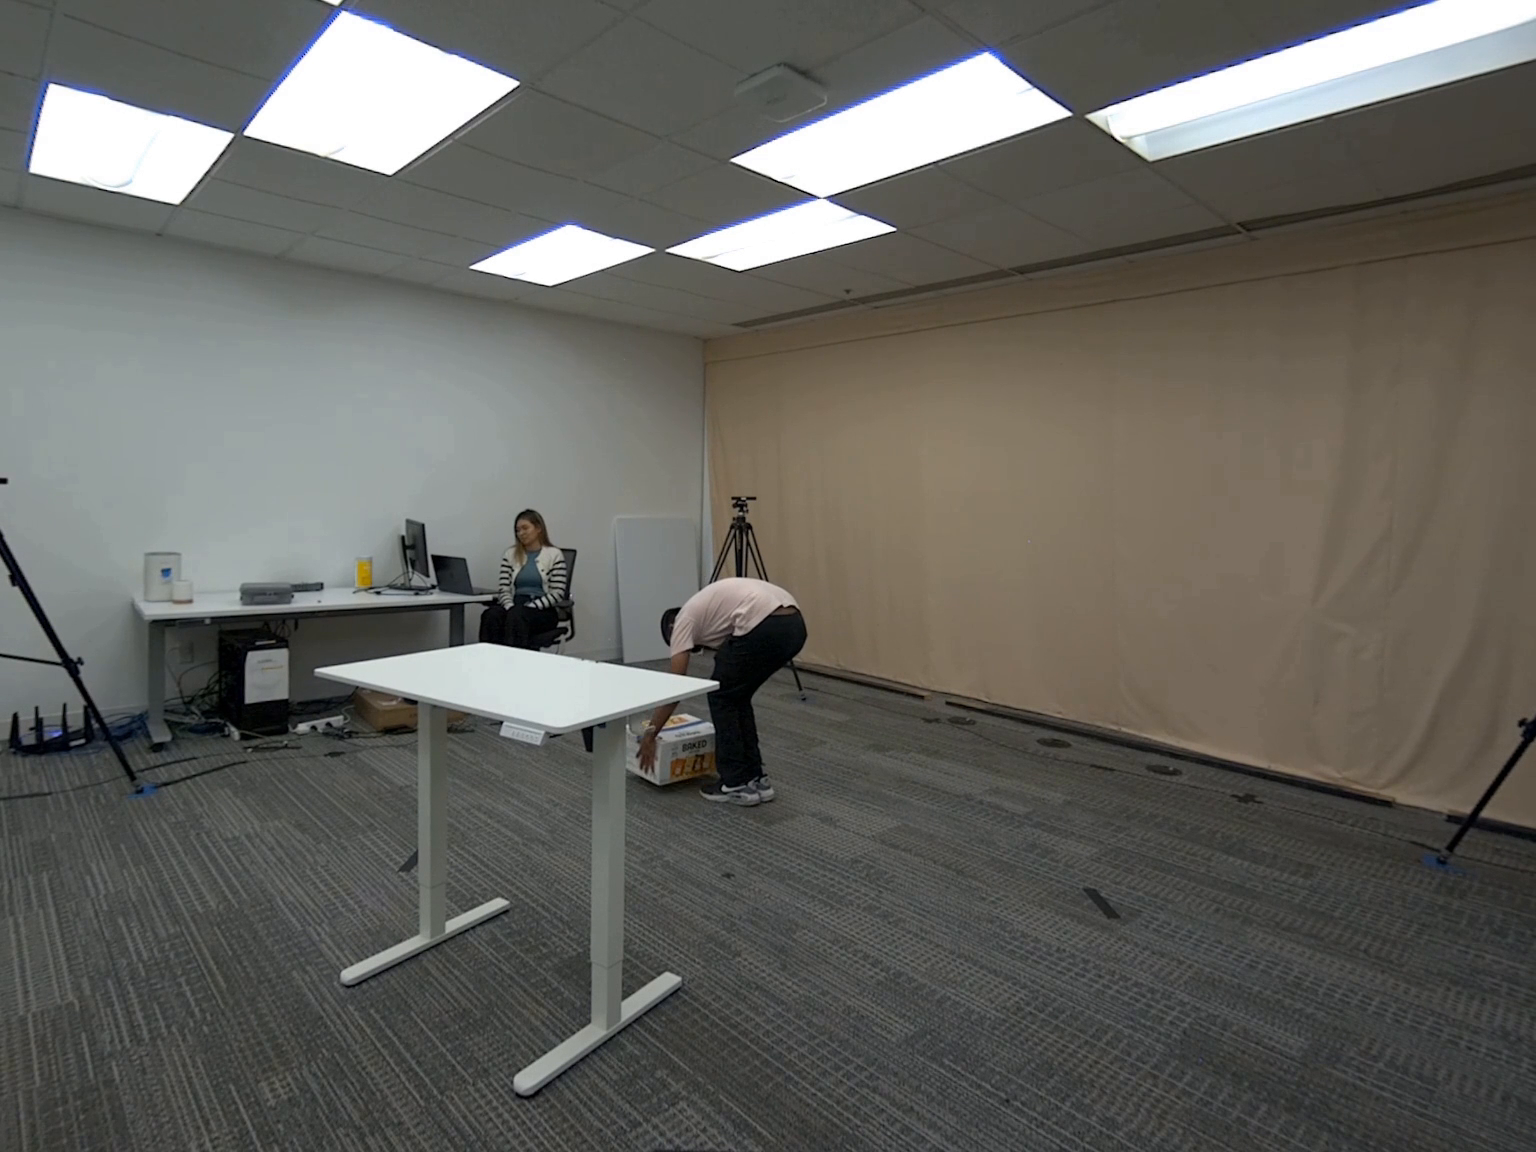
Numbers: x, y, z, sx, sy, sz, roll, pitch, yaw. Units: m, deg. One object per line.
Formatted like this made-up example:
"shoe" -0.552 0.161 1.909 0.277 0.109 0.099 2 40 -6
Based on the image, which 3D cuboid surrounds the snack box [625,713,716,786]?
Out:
"snack box" -0.470 0.839 4.150 0.396 0.205 0.349 -3 7 -41
